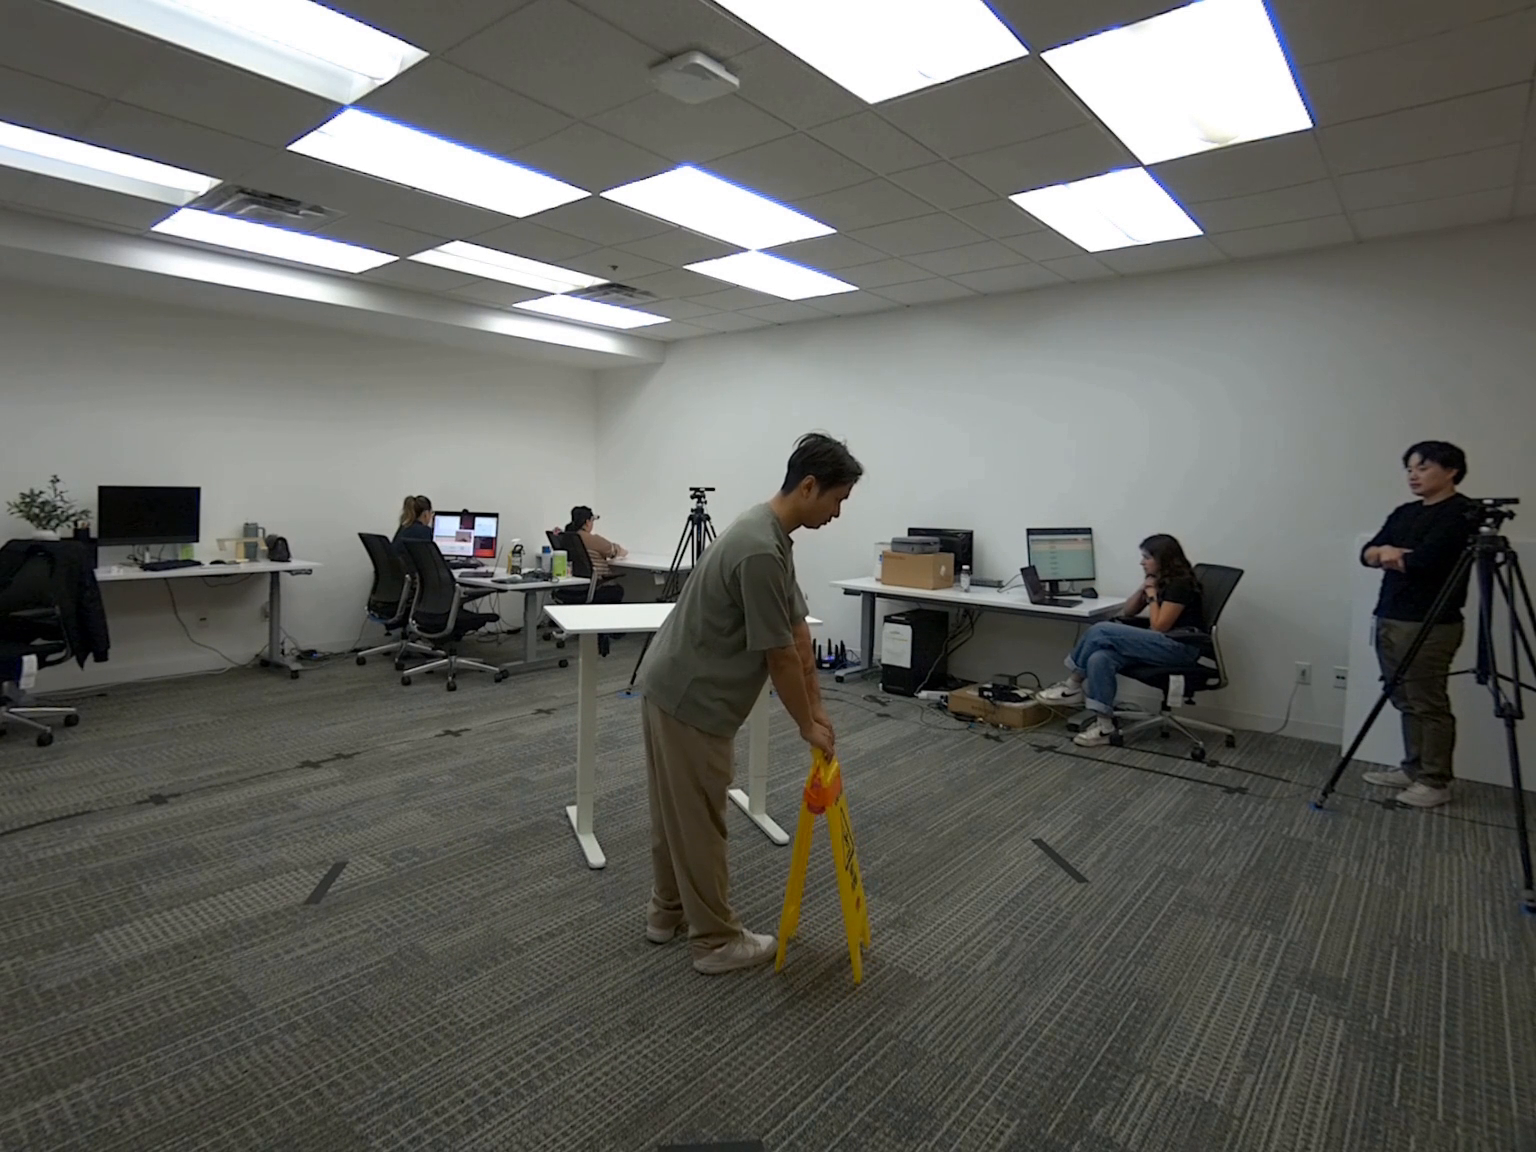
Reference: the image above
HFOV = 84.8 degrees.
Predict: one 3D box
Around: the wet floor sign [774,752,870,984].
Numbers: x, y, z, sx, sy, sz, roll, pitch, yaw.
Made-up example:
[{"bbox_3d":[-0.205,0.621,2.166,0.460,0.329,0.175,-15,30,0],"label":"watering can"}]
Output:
[{"bbox_3d":[0.155,0.798,2.492,0.294,0.644,0.279,1,4,13],"label":"wet floor sign"}]
